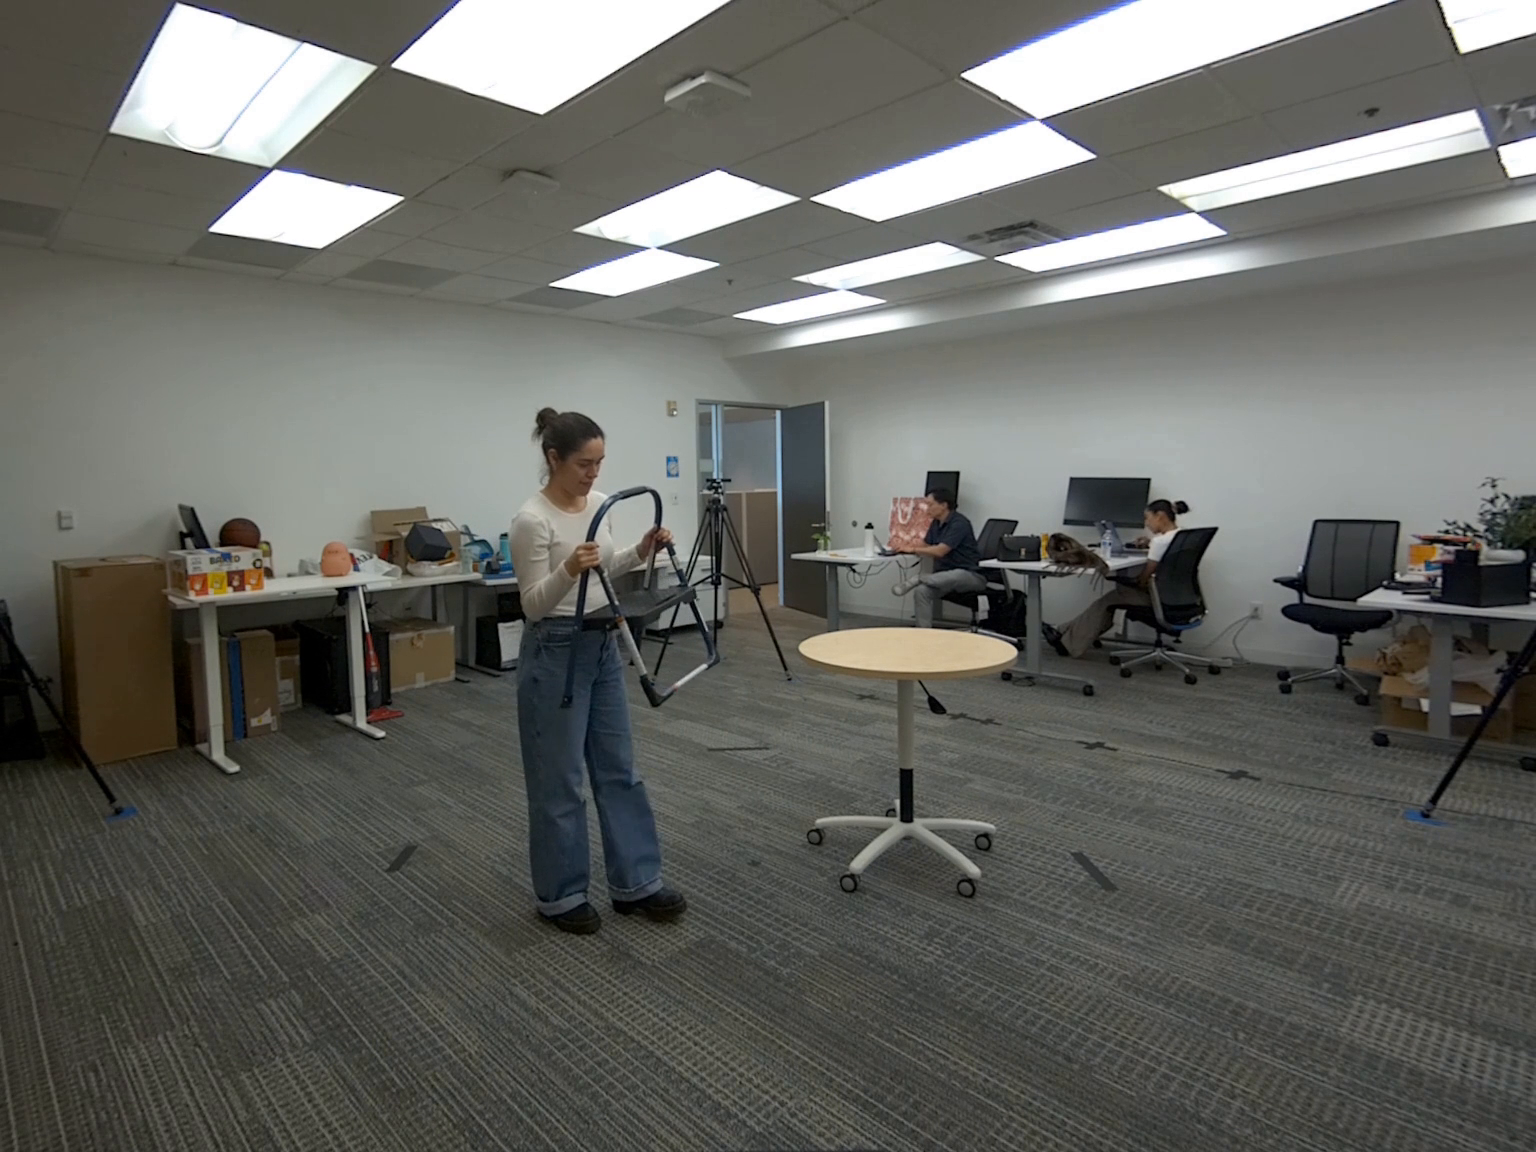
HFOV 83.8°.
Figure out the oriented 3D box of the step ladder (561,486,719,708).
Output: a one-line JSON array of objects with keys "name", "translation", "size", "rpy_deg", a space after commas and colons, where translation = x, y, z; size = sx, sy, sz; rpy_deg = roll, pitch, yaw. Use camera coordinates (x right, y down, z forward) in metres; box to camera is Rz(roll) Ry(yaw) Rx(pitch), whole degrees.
[{"name": "step ladder", "translation": [-0.425, 0.038, 2.613], "size": [0.356, 0.601, 0.425], "rpy_deg": [-5, 9, 25]}]
